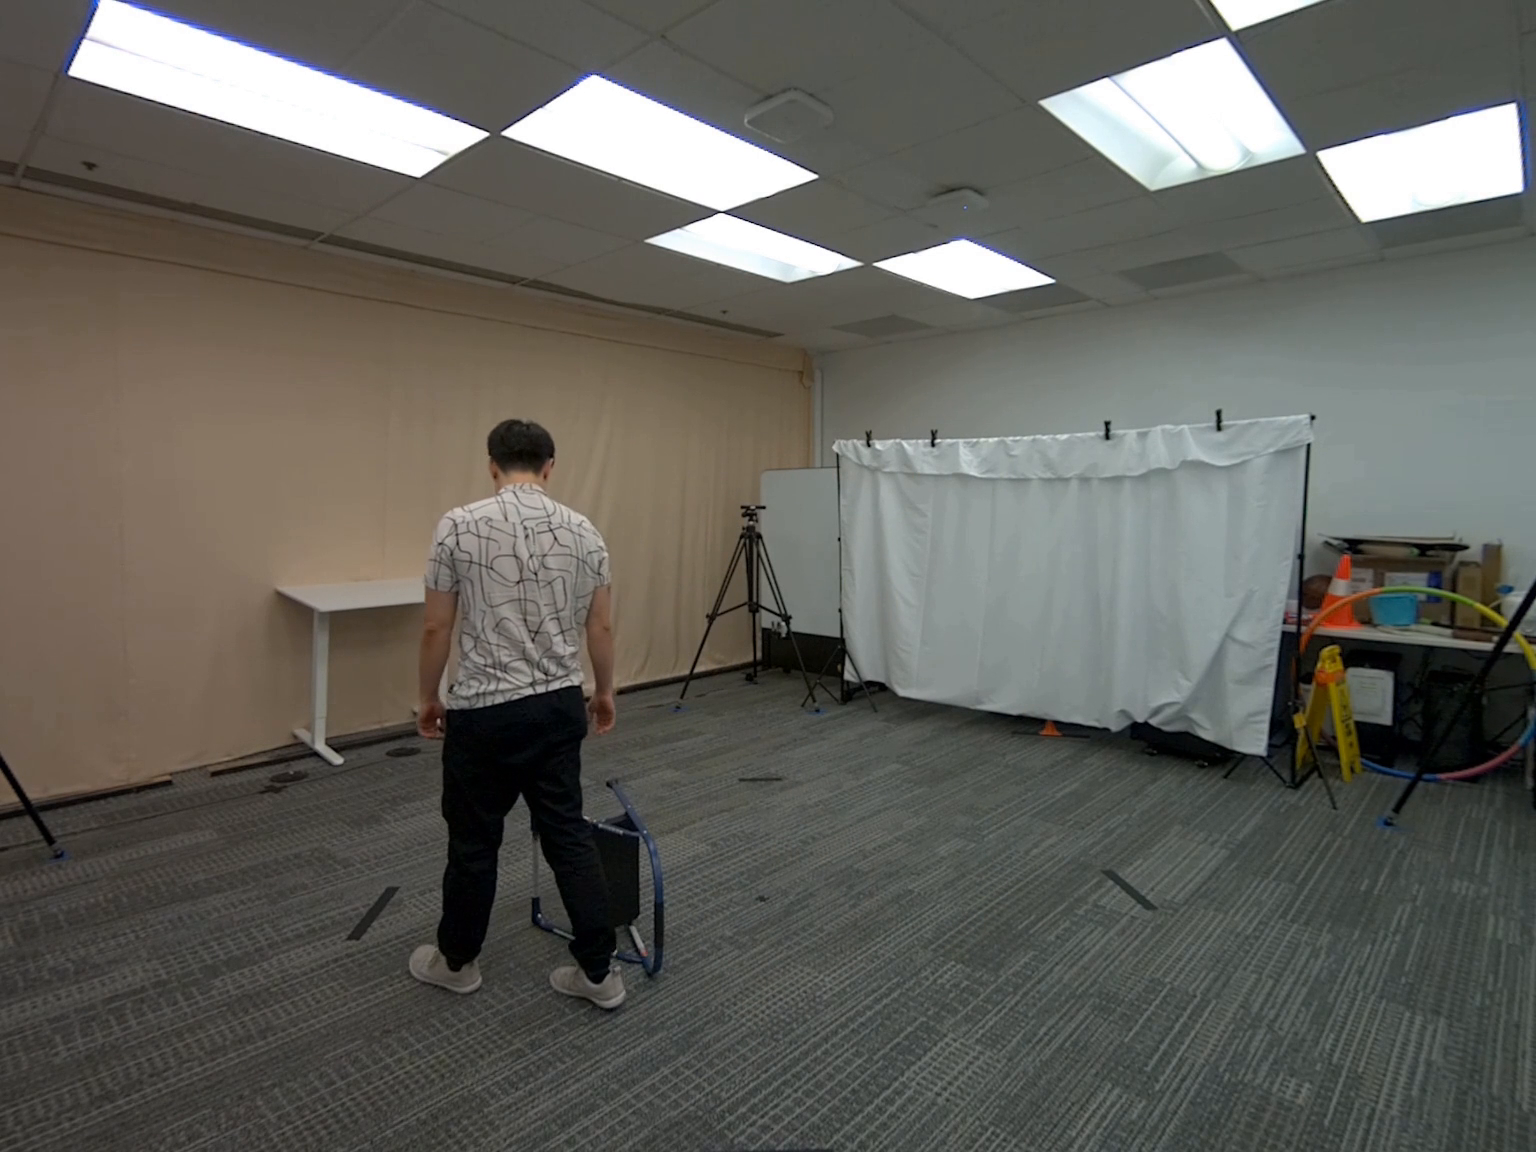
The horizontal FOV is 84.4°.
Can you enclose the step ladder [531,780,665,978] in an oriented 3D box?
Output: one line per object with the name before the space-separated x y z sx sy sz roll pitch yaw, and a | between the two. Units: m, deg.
step ladder | -0.458 0.963 2.674 0.339 0.429 0.626 -5 6 -42
